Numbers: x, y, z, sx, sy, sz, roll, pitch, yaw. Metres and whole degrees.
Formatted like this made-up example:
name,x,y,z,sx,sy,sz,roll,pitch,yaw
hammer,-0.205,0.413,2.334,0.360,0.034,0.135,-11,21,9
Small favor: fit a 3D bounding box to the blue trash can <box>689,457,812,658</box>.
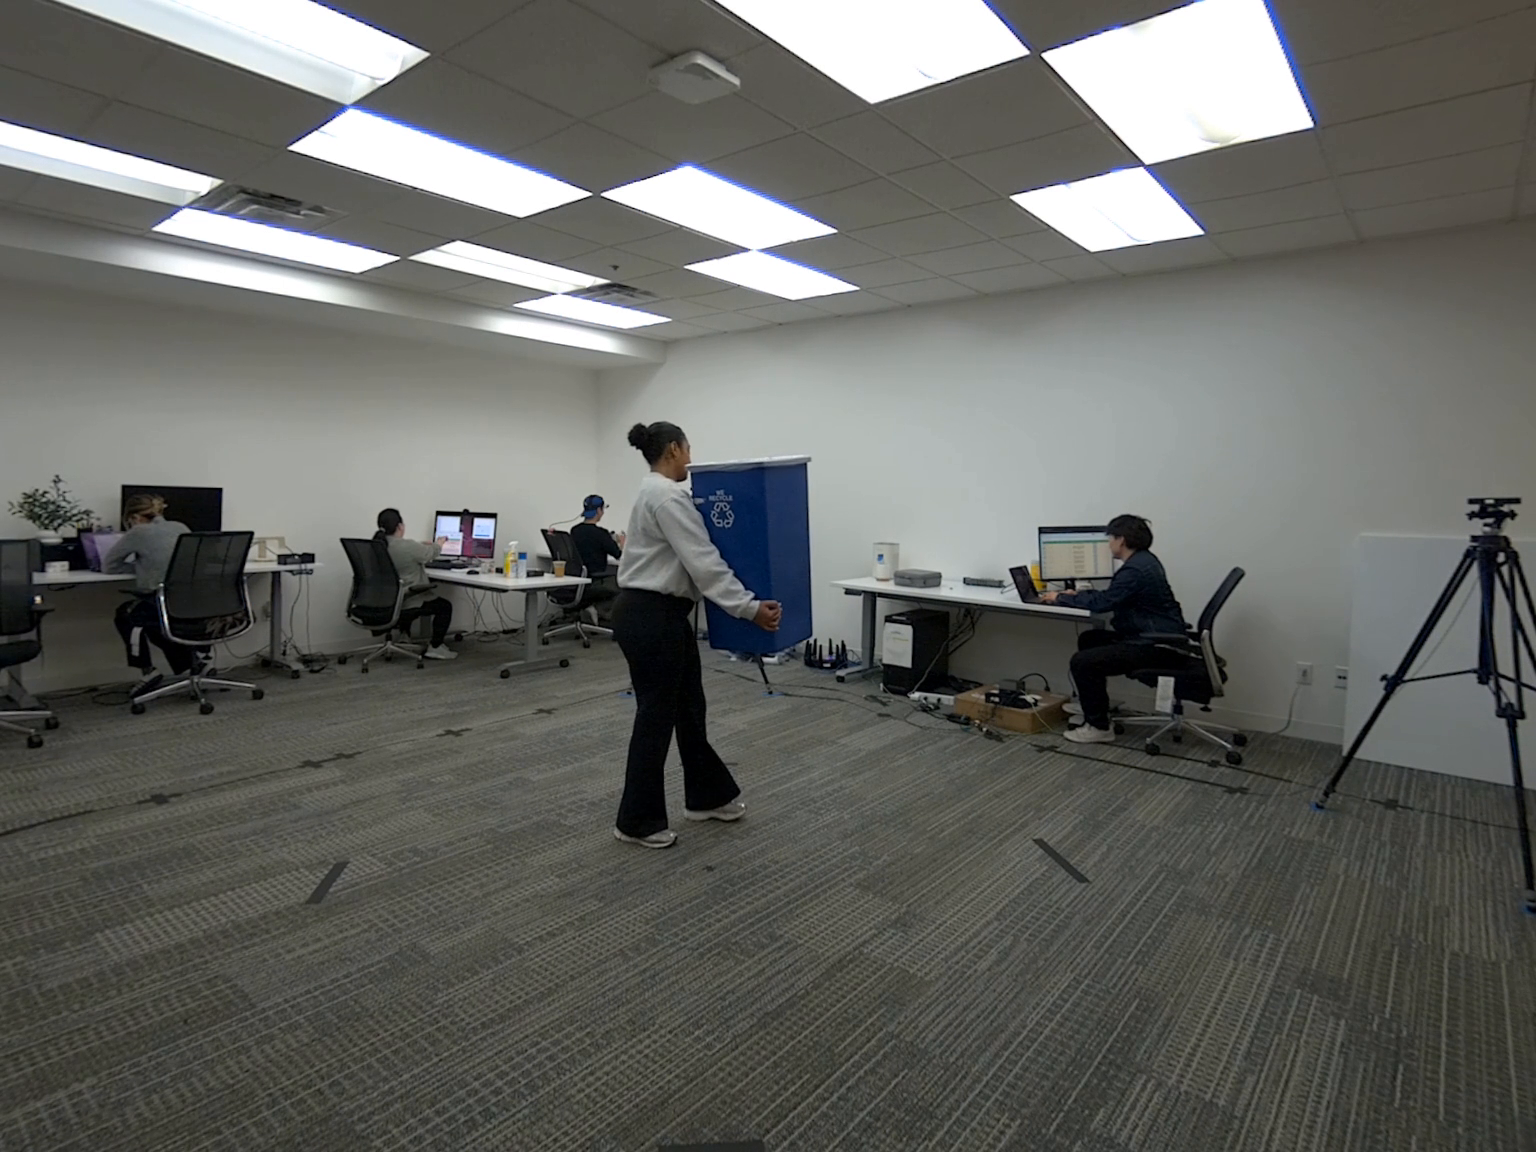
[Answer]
name,x,y,z,sx,sy,sz,roll,pitch,yaw
blue trash can,-0.057,-0.095,3.284,0.389,0.710,0.365,-1,7,35
